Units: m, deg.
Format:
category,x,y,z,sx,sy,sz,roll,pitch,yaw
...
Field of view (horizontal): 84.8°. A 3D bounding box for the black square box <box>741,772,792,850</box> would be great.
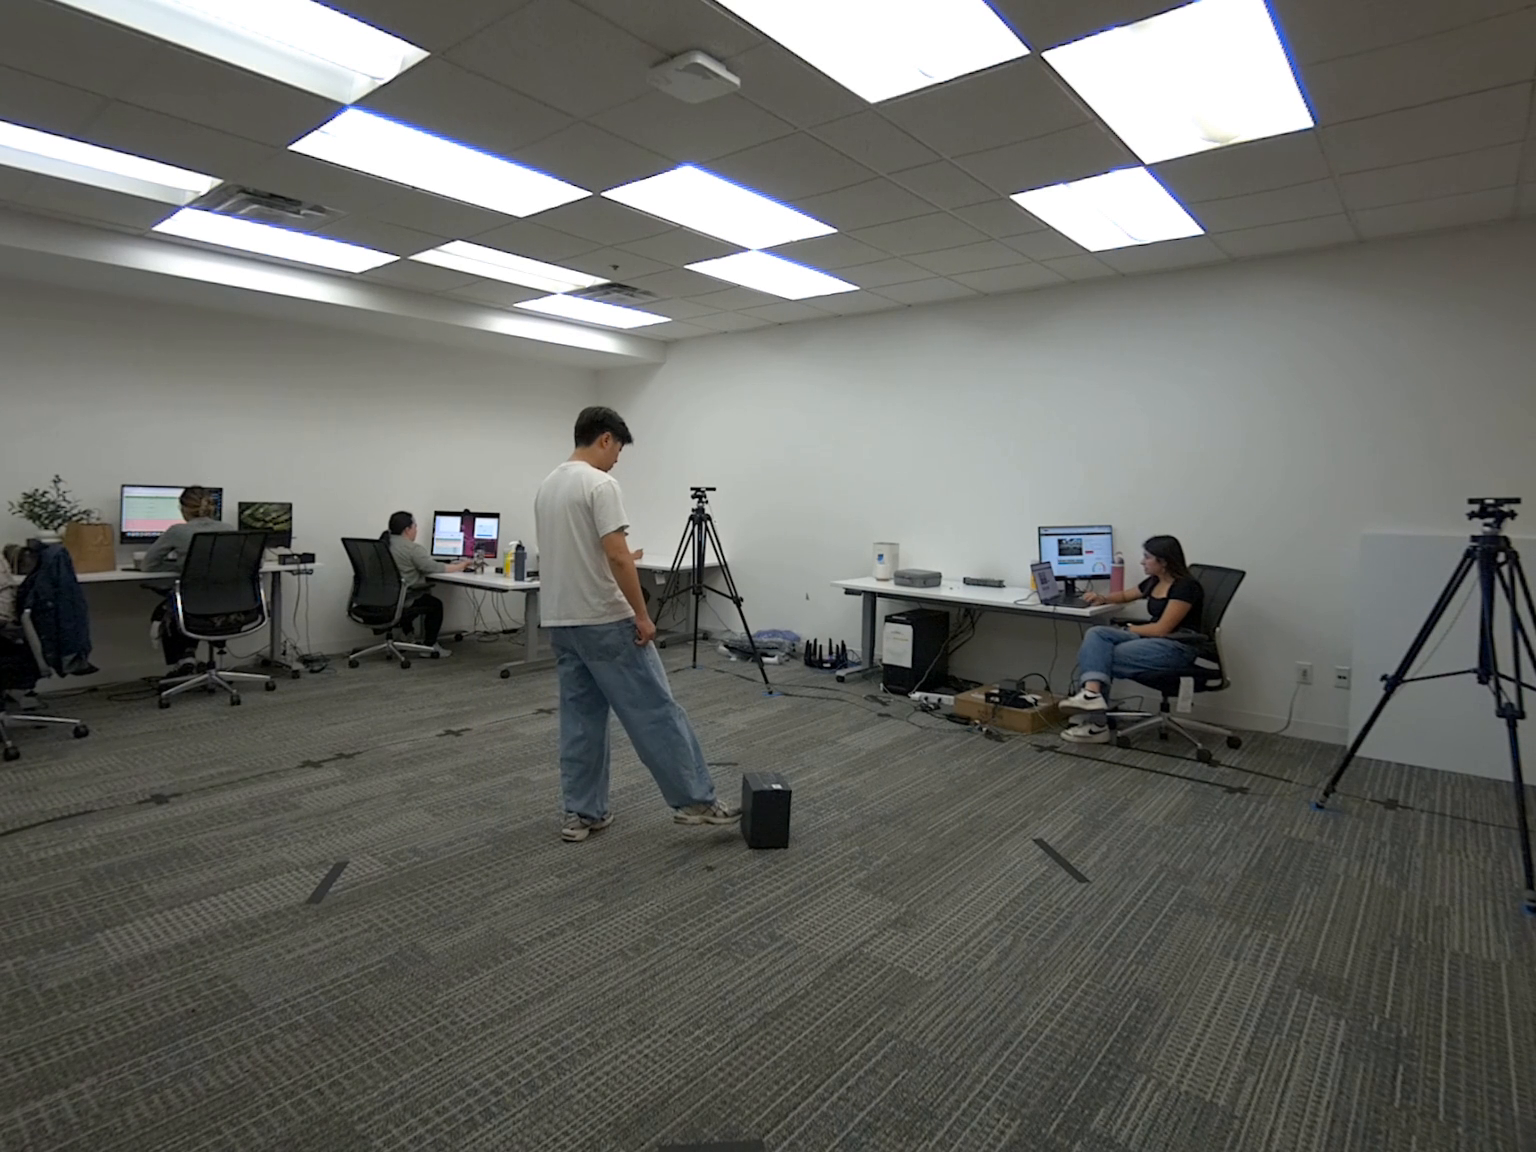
category,x,y,z,sx,sy,sz,roll,pitch,yaw
black square box,-0.032,0.922,3.383,0.154,0.227,0.220,2,5,-12
